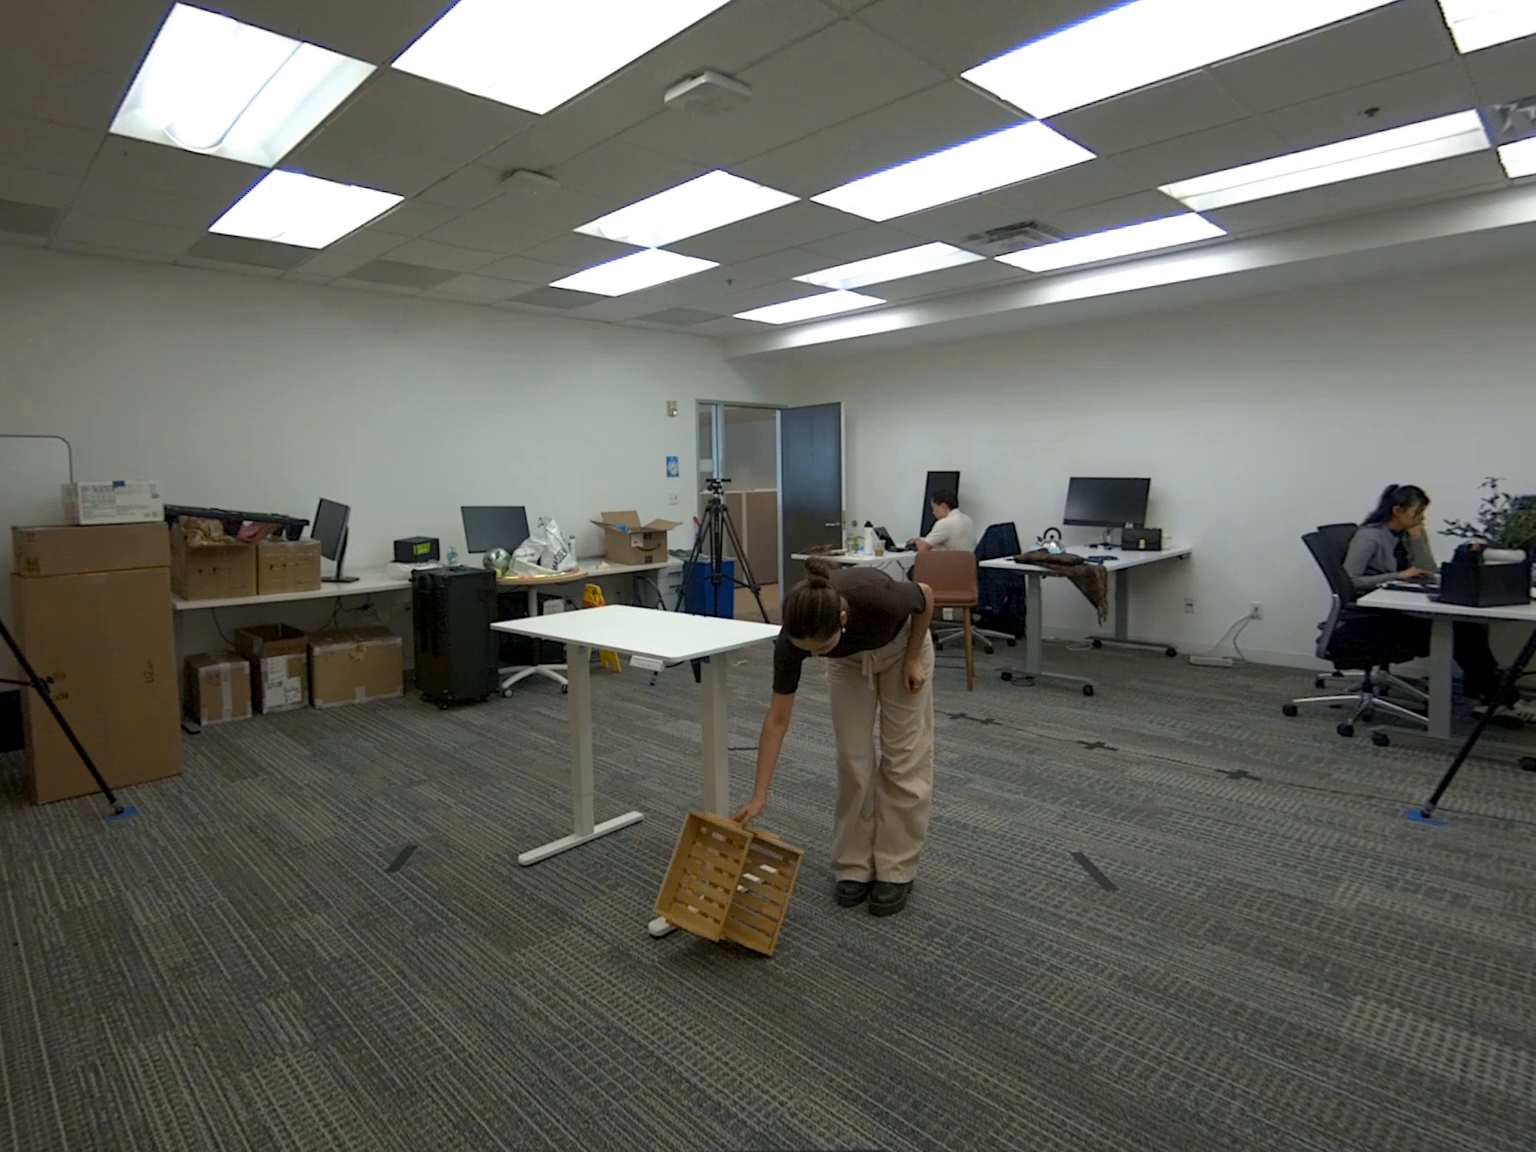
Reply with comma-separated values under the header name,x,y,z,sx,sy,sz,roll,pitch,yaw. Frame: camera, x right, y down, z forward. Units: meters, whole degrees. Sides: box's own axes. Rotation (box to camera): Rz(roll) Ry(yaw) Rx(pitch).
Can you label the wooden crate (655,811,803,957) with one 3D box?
name,x,y,z,sx,sy,sz,roll,pitch,yaw
wooden crate,-0.097,0.904,2.527,0.312,0.327,0.263,11,-16,35
